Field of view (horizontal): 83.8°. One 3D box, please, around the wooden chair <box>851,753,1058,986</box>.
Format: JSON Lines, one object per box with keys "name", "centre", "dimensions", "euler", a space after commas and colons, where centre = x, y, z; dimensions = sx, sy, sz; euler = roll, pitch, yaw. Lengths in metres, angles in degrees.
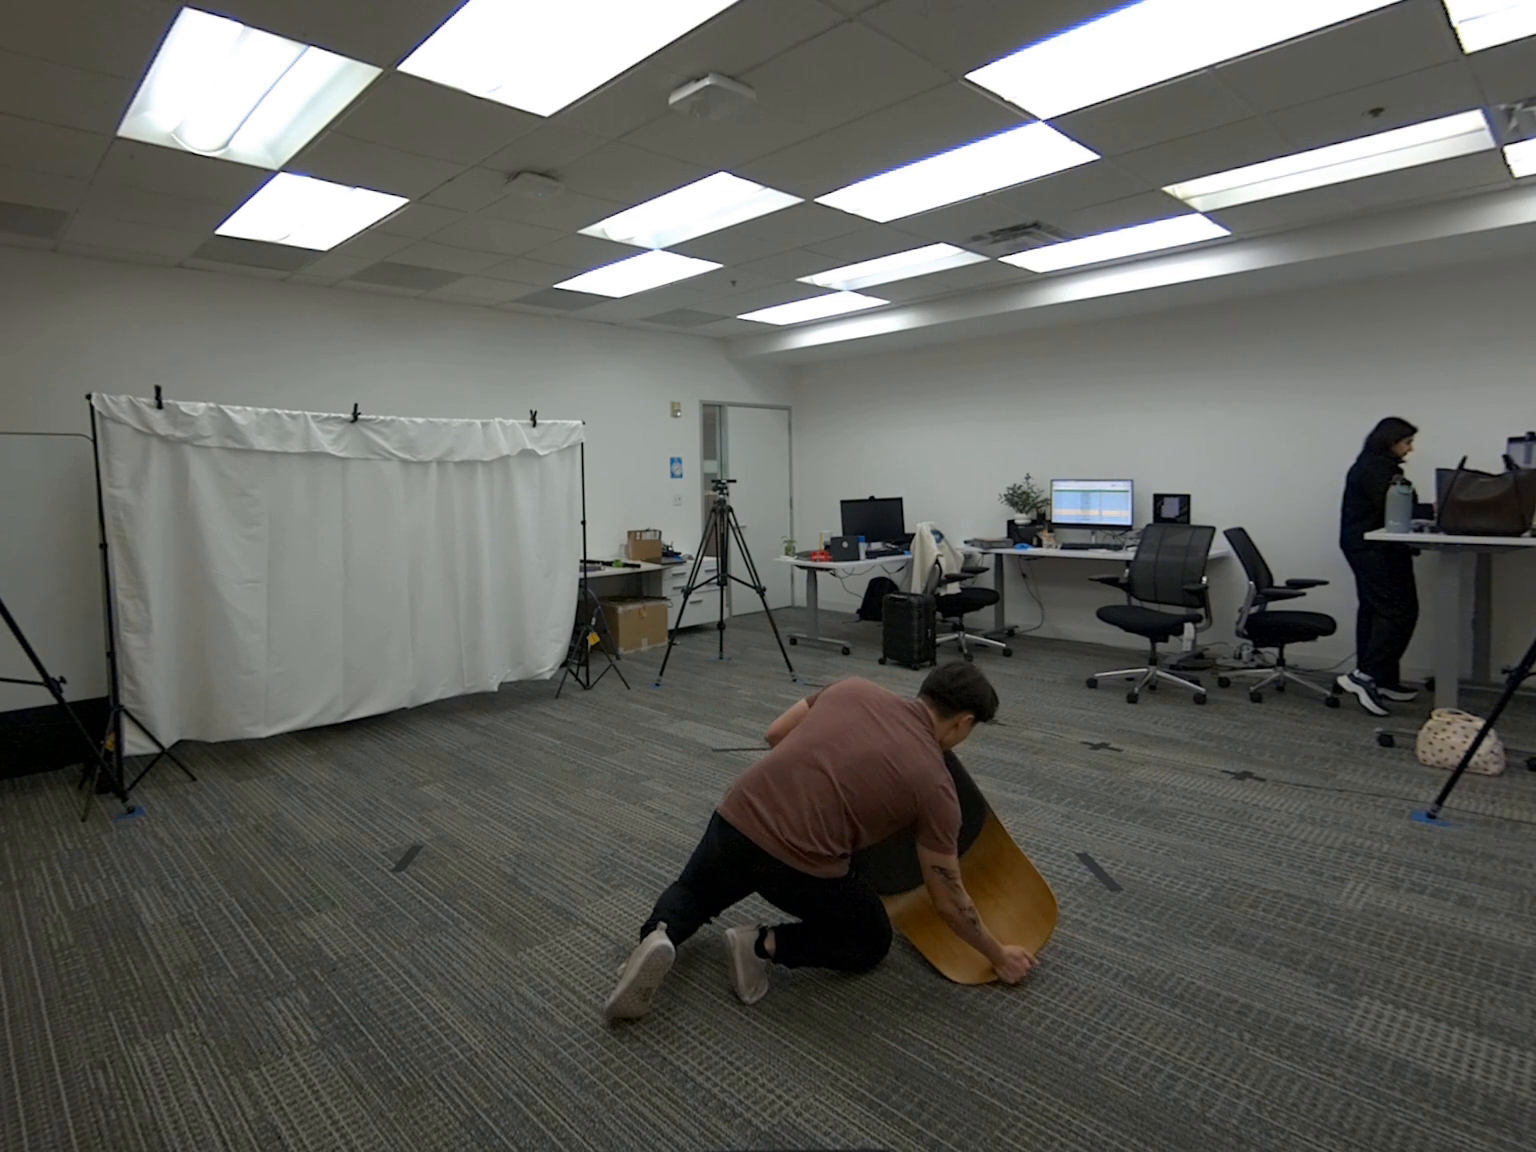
{"name": "wooden chair", "centre": [0.454, 0.783, 2.710], "dimensions": [0.477, 0.512, 0.897], "euler": [-35, 18, -6]}
